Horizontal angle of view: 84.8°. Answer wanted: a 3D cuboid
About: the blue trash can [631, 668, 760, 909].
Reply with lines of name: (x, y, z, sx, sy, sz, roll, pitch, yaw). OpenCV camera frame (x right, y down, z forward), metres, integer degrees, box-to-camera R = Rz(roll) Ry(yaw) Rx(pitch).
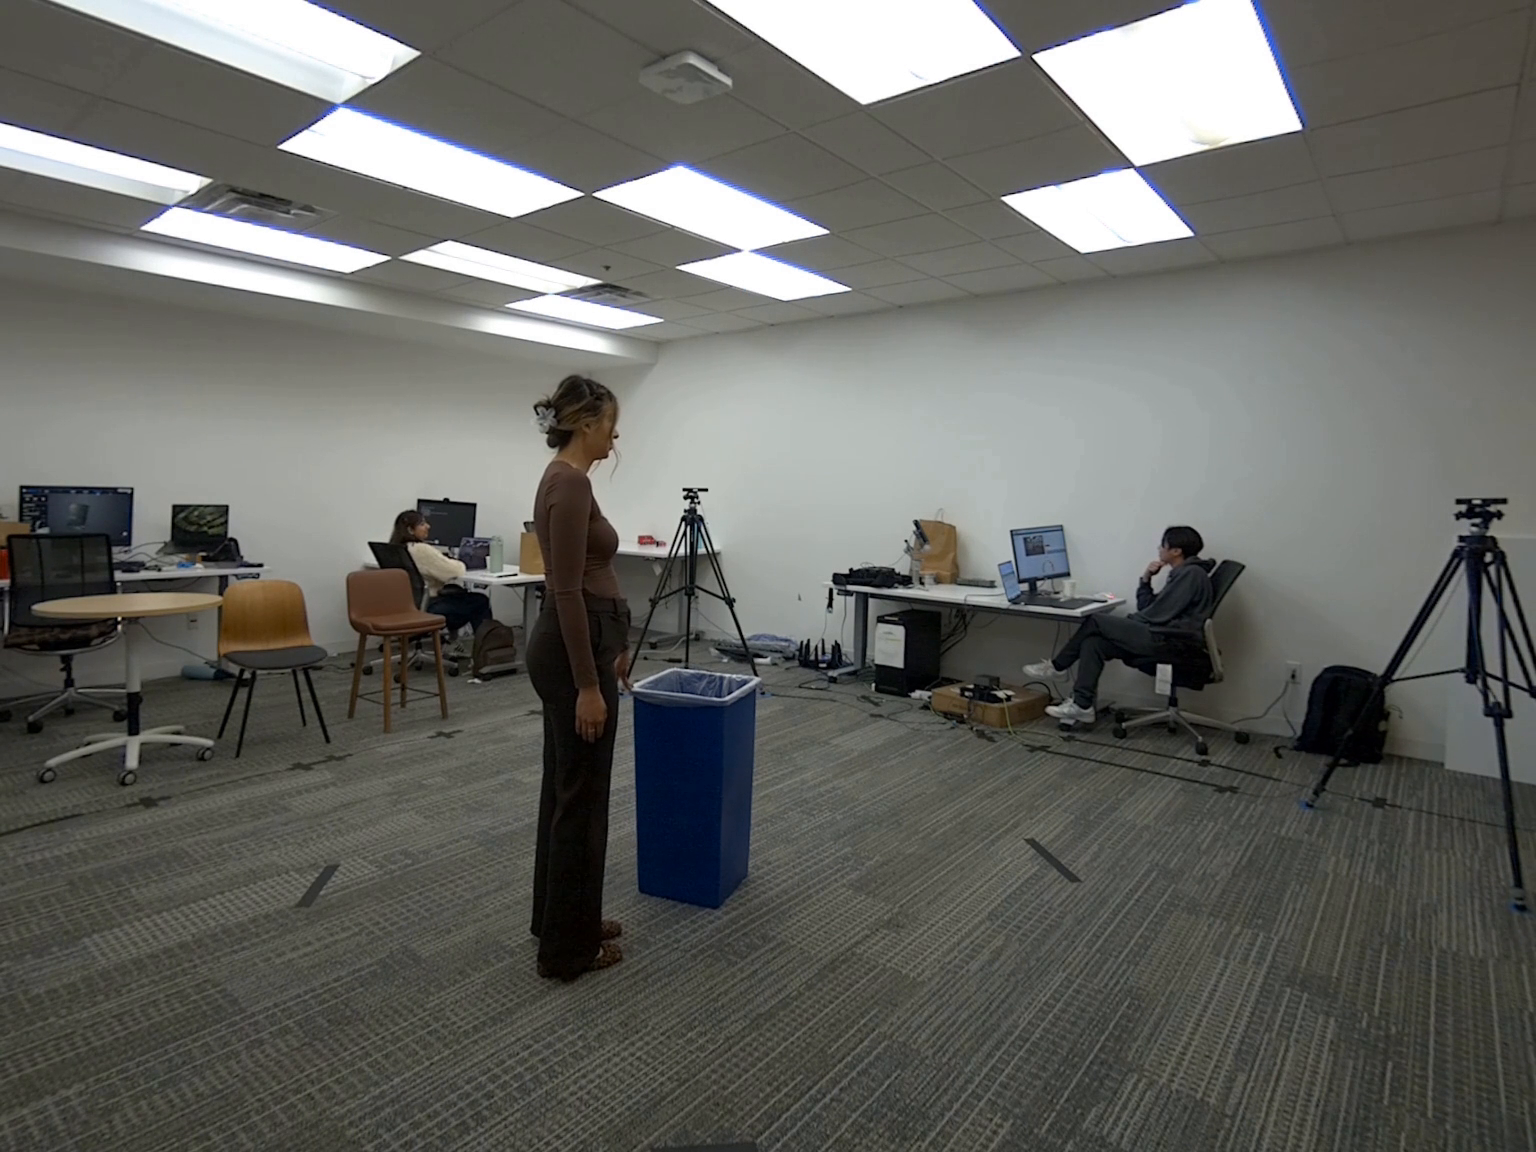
blue trash can: (-0.262, 0.721, 2.977, 0.387, 0.712, 0.366, 2, 3, 21)
